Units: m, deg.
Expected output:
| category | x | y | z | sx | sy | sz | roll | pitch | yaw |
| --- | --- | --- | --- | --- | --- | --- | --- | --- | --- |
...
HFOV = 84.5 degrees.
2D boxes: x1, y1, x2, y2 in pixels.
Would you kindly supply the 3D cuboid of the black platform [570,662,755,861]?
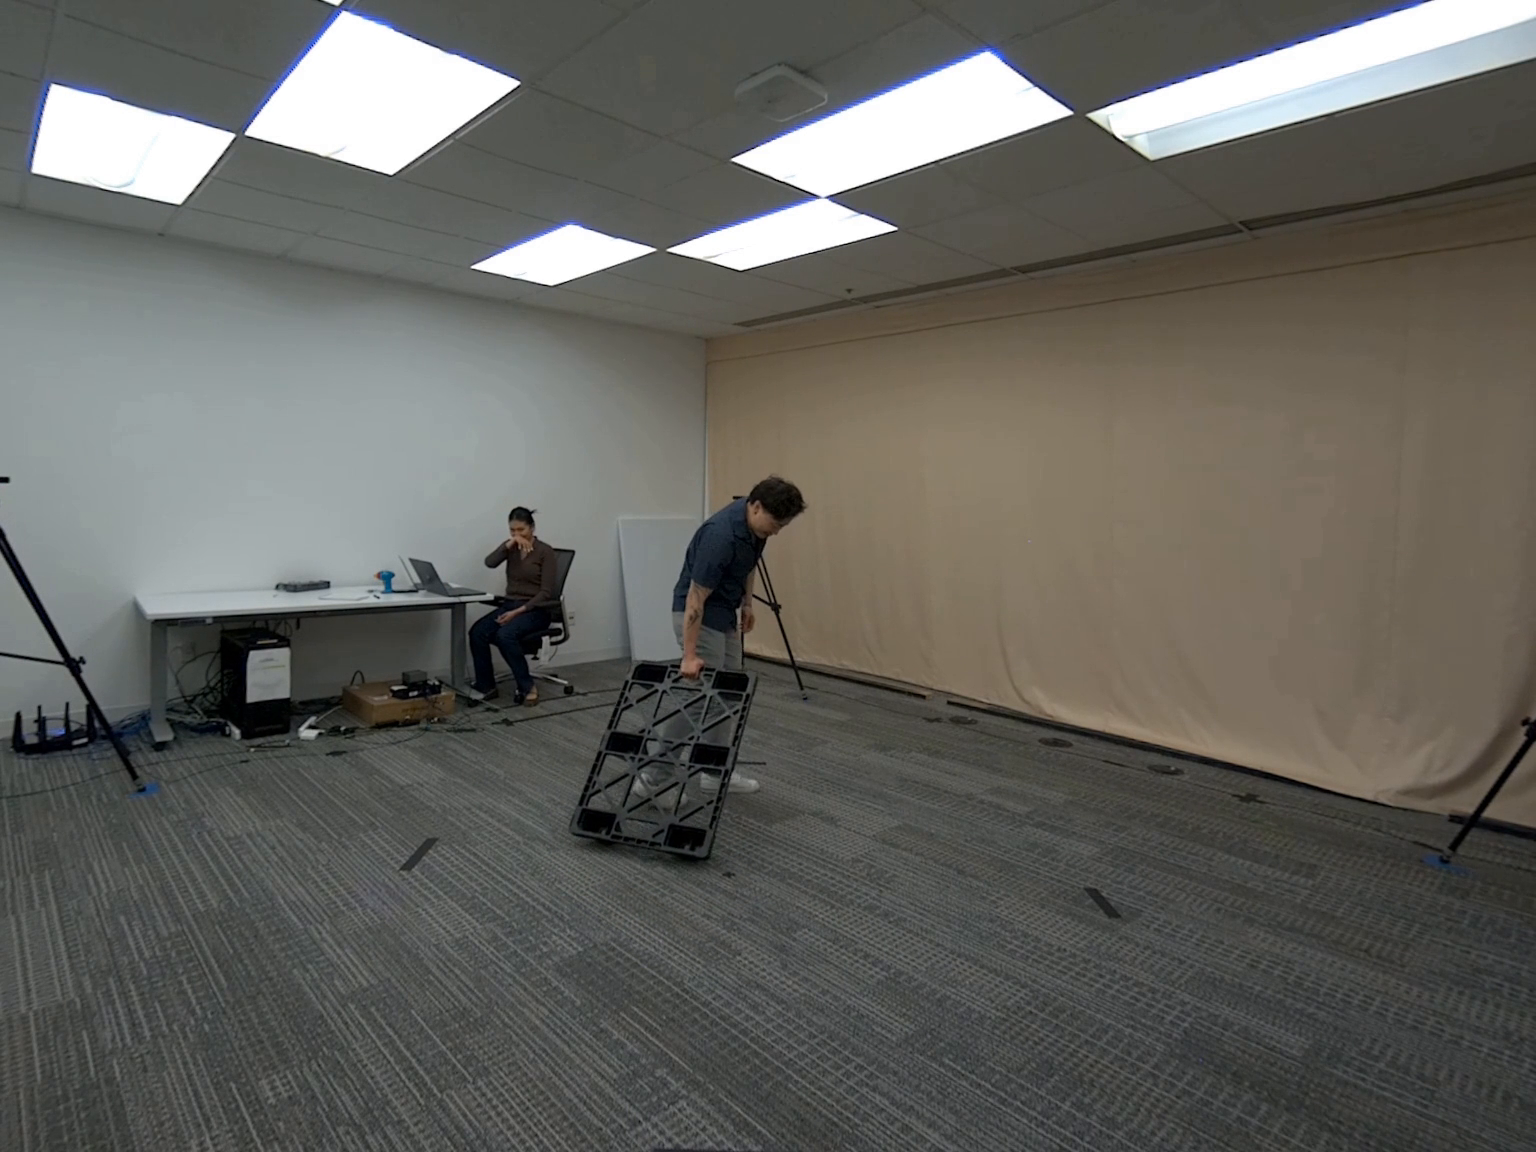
| category | x | y | z | sx | sy | sz | roll | pitch | yaw |
| --- | --- | --- | --- | --- | --- | --- | --- | --- | --- |
| black platform | -0.412 | 0.748 | 3.482 | 0.615 | 0.816 | 0.139 | 2 | -37 | 20 |
